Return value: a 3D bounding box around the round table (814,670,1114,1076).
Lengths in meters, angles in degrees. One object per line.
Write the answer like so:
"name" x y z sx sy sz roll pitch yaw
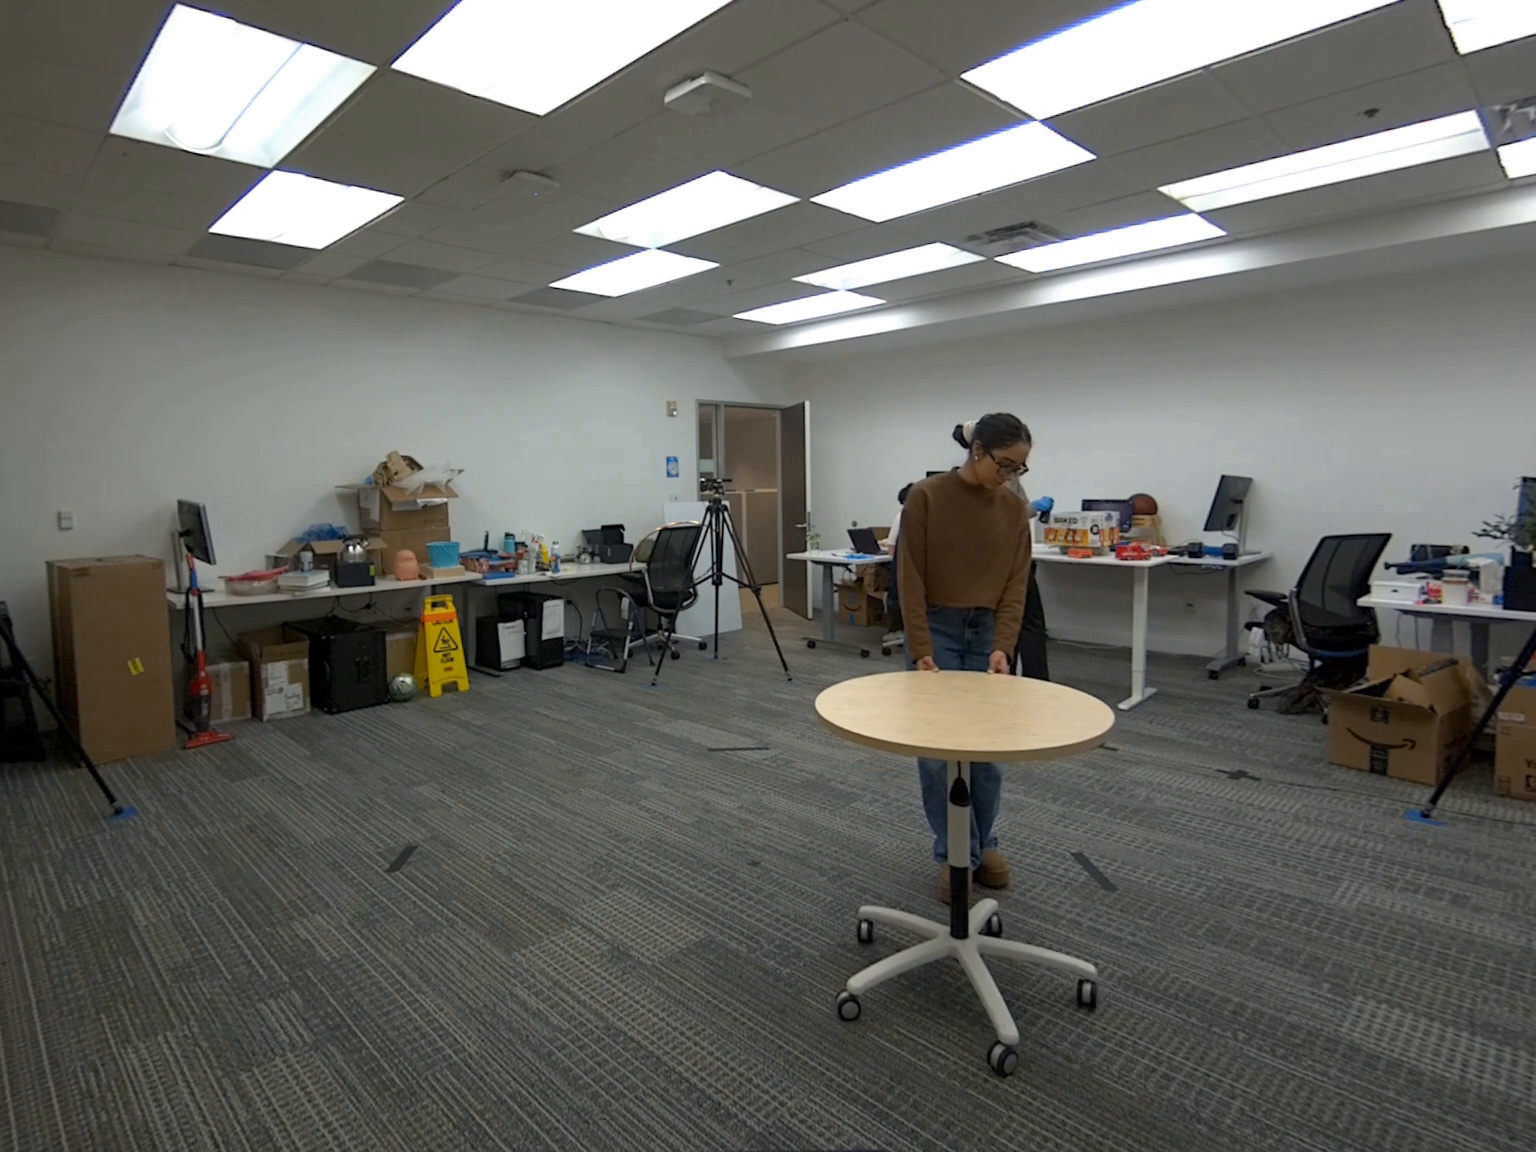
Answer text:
"round table" 0.520 0.736 2.324 0.763 0.790 0.768 -2 6 -2
